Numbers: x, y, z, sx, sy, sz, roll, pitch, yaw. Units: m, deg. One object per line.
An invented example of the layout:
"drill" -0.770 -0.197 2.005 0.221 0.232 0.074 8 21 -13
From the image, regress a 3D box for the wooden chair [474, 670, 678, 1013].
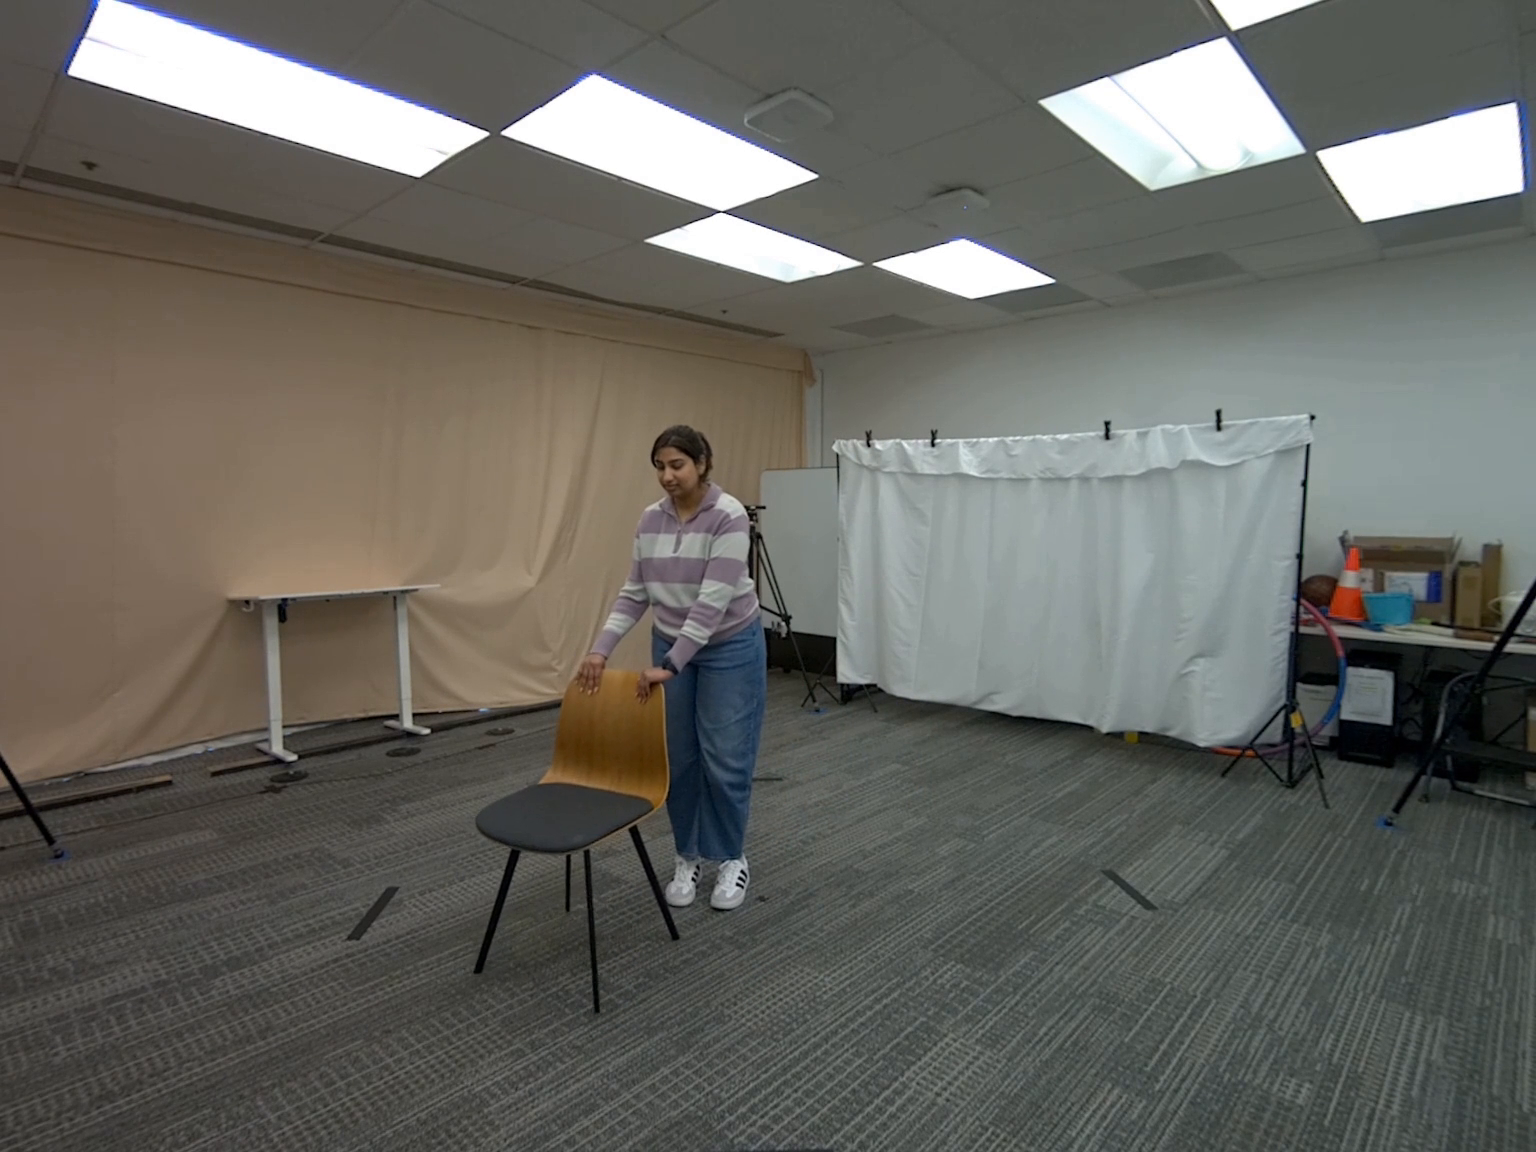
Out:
"wooden chair" -0.579 0.757 2.575 0.491 0.877 0.509 2 0 26
